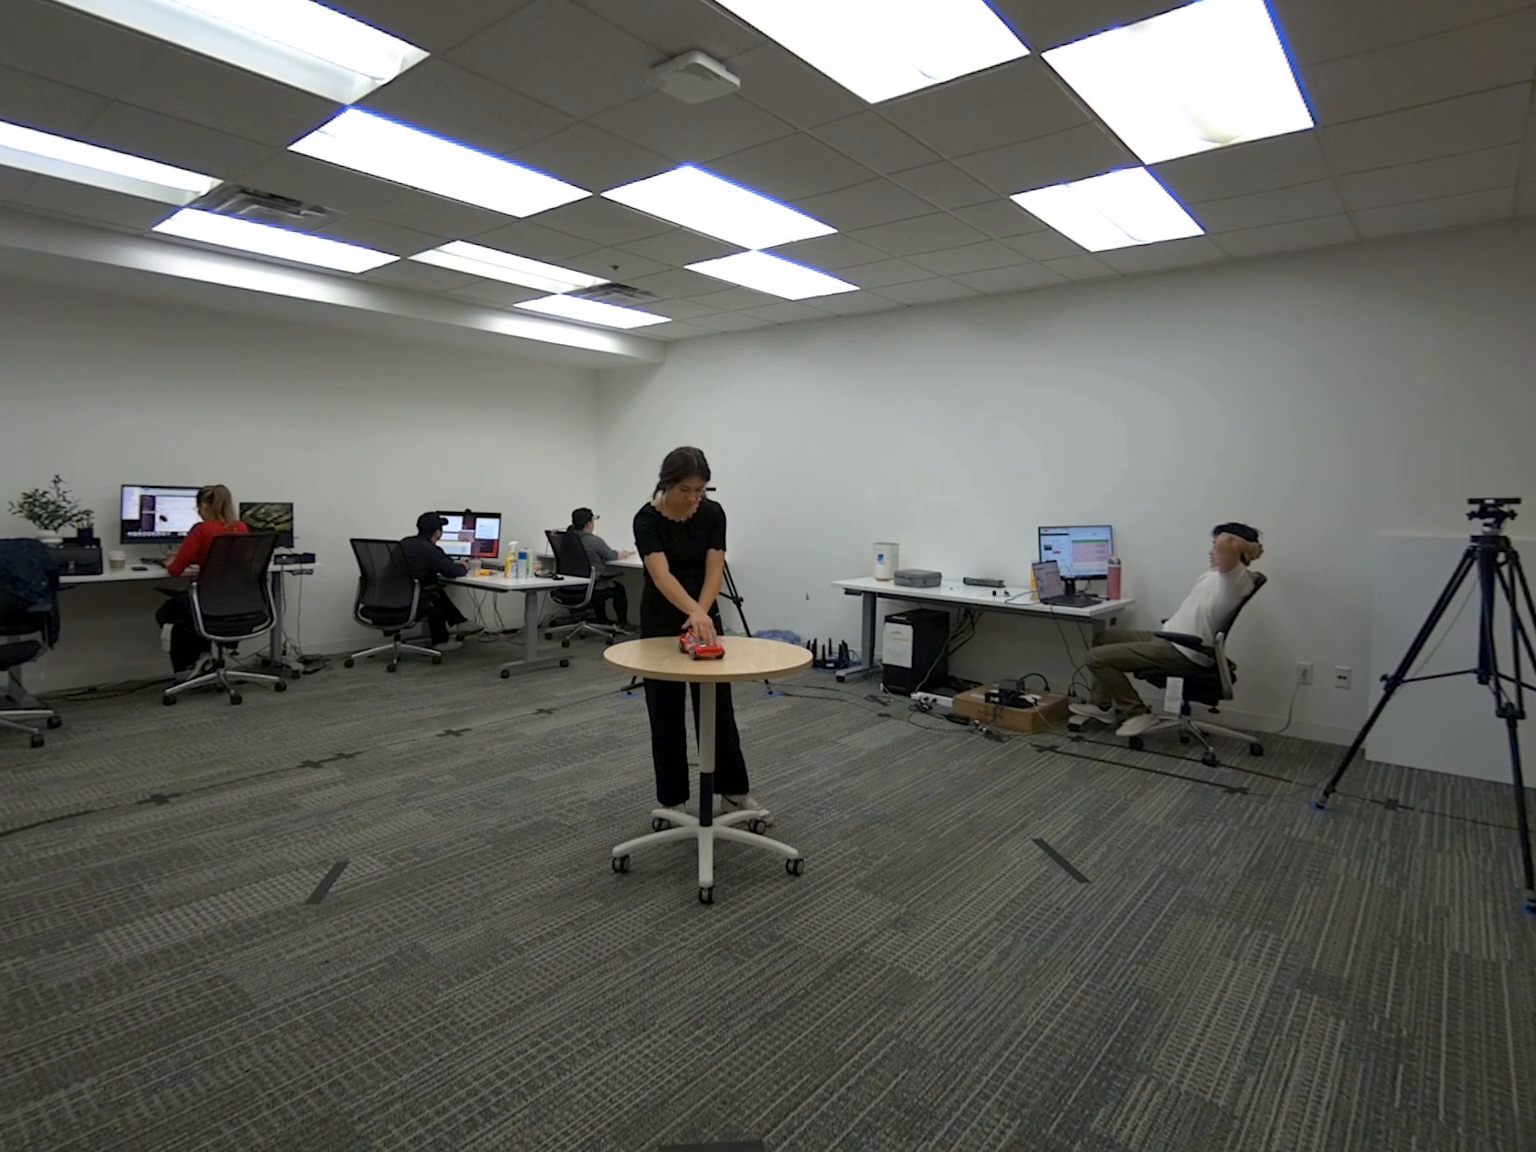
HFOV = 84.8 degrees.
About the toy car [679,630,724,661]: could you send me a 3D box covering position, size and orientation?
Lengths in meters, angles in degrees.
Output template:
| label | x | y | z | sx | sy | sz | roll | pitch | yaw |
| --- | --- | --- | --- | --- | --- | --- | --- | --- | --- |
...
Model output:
| label | x | y | z | sx | sy | sz | roll | pitch | yaw |
| --- | --- | --- | --- | --- | --- | --- | --- | --- | --- |
| toy car | -0.262 | 0.250 | 3.095 | 0.128 | 0.082 | 0.263 | -2 | 17 | -20 |
